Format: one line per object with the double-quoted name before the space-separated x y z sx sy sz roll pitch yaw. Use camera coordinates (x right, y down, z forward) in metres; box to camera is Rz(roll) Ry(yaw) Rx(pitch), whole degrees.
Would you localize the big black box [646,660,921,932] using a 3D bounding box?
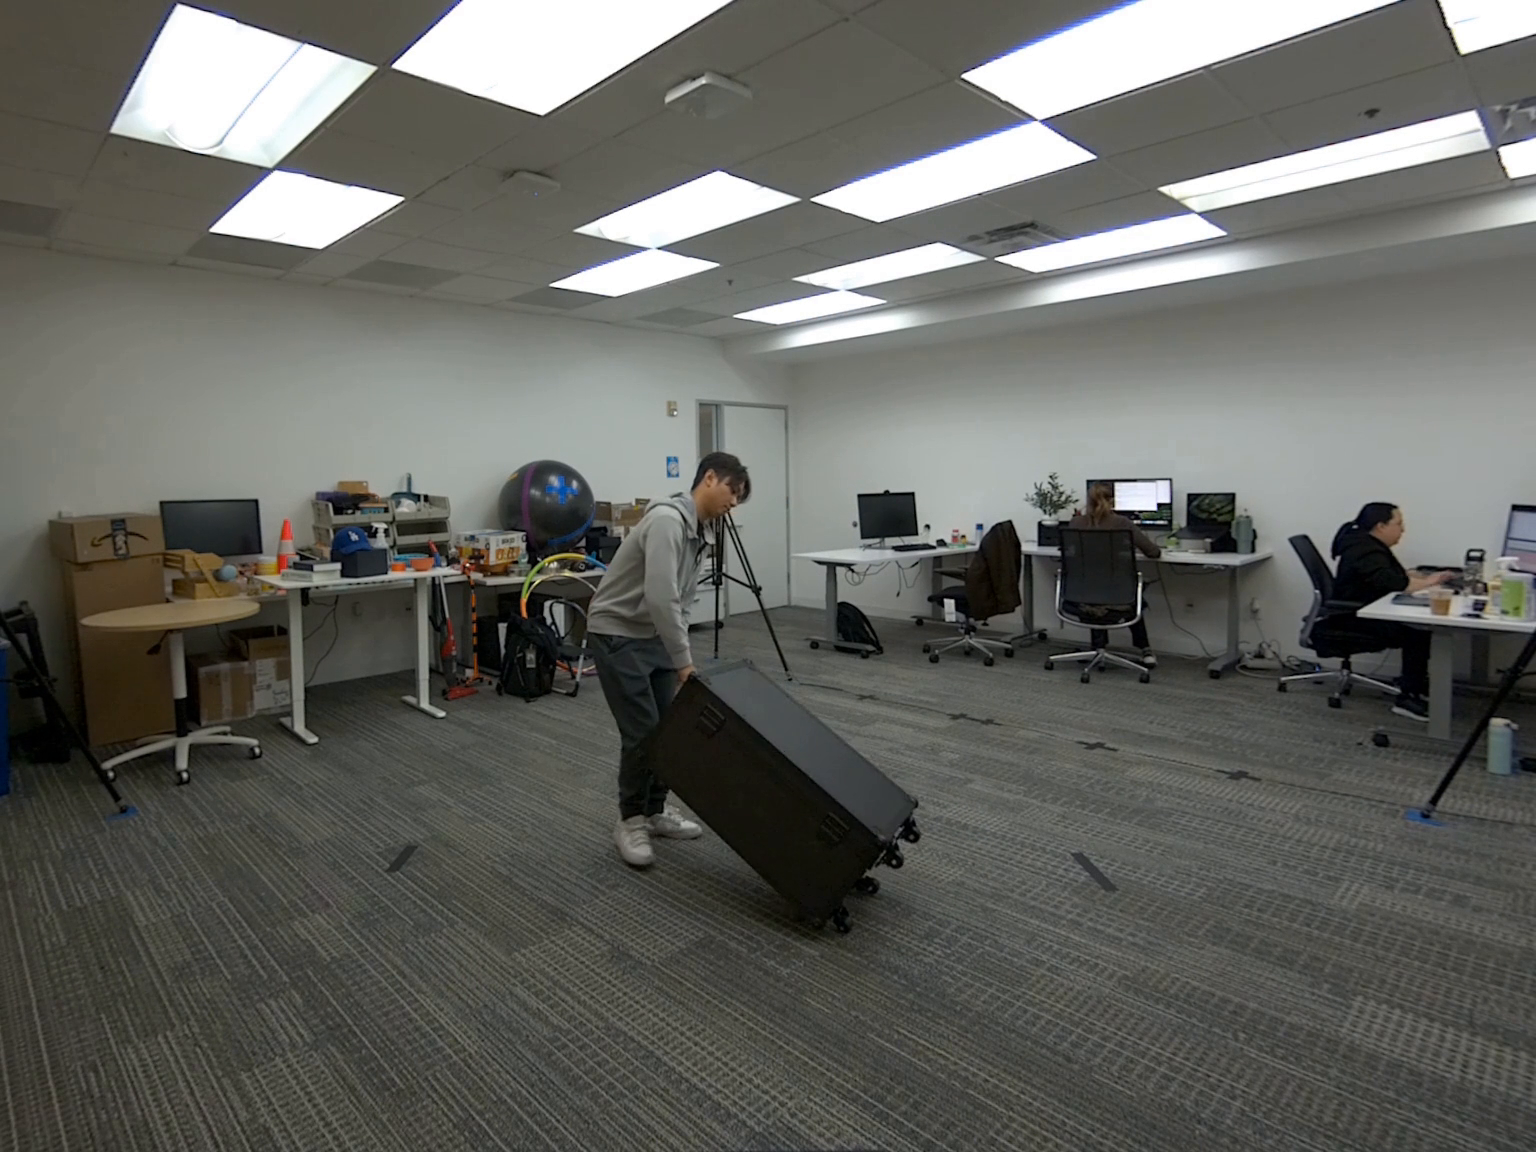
"big black box" 0.013 0.677 2.880 0.884 0.395 0.509 38 13 19
